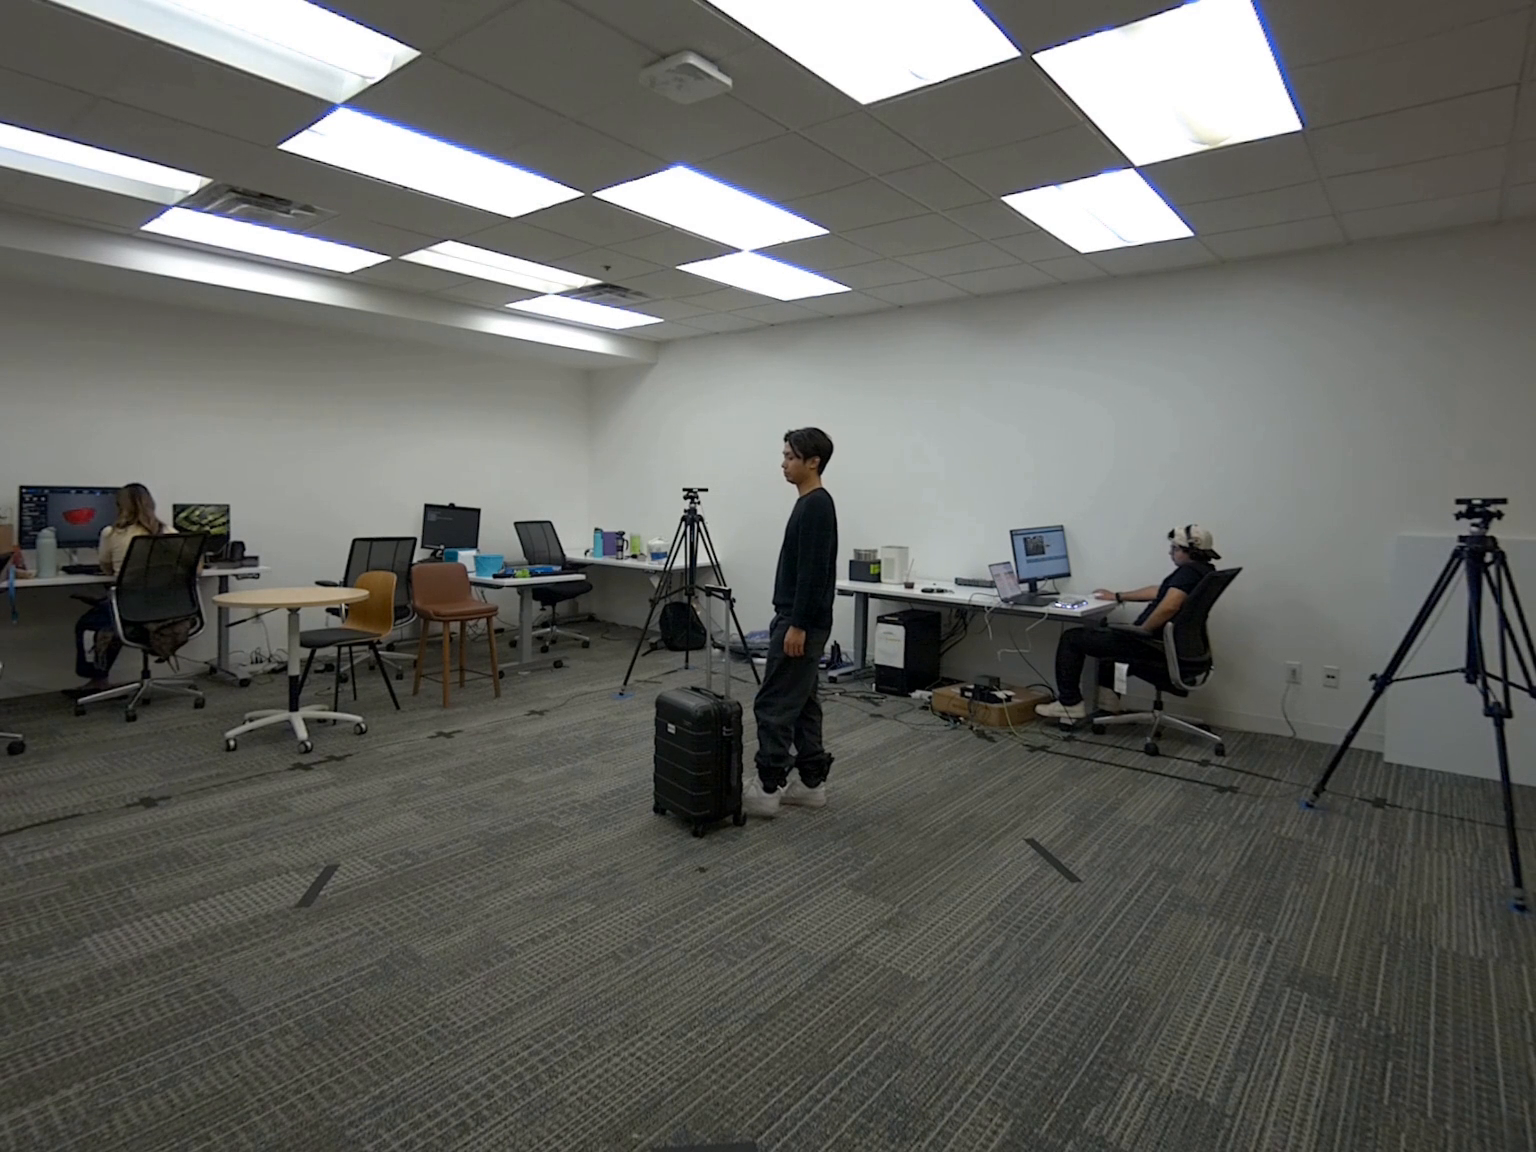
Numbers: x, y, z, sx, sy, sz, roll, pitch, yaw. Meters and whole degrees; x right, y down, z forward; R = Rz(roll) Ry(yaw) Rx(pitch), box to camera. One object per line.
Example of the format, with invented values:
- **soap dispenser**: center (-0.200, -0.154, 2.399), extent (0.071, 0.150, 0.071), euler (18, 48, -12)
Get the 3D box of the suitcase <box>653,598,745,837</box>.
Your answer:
- **suitcase**: center (-0.311, 0.549, 3.536), extent (0.250, 0.974, 0.397), euler (-4, 6, -38)
